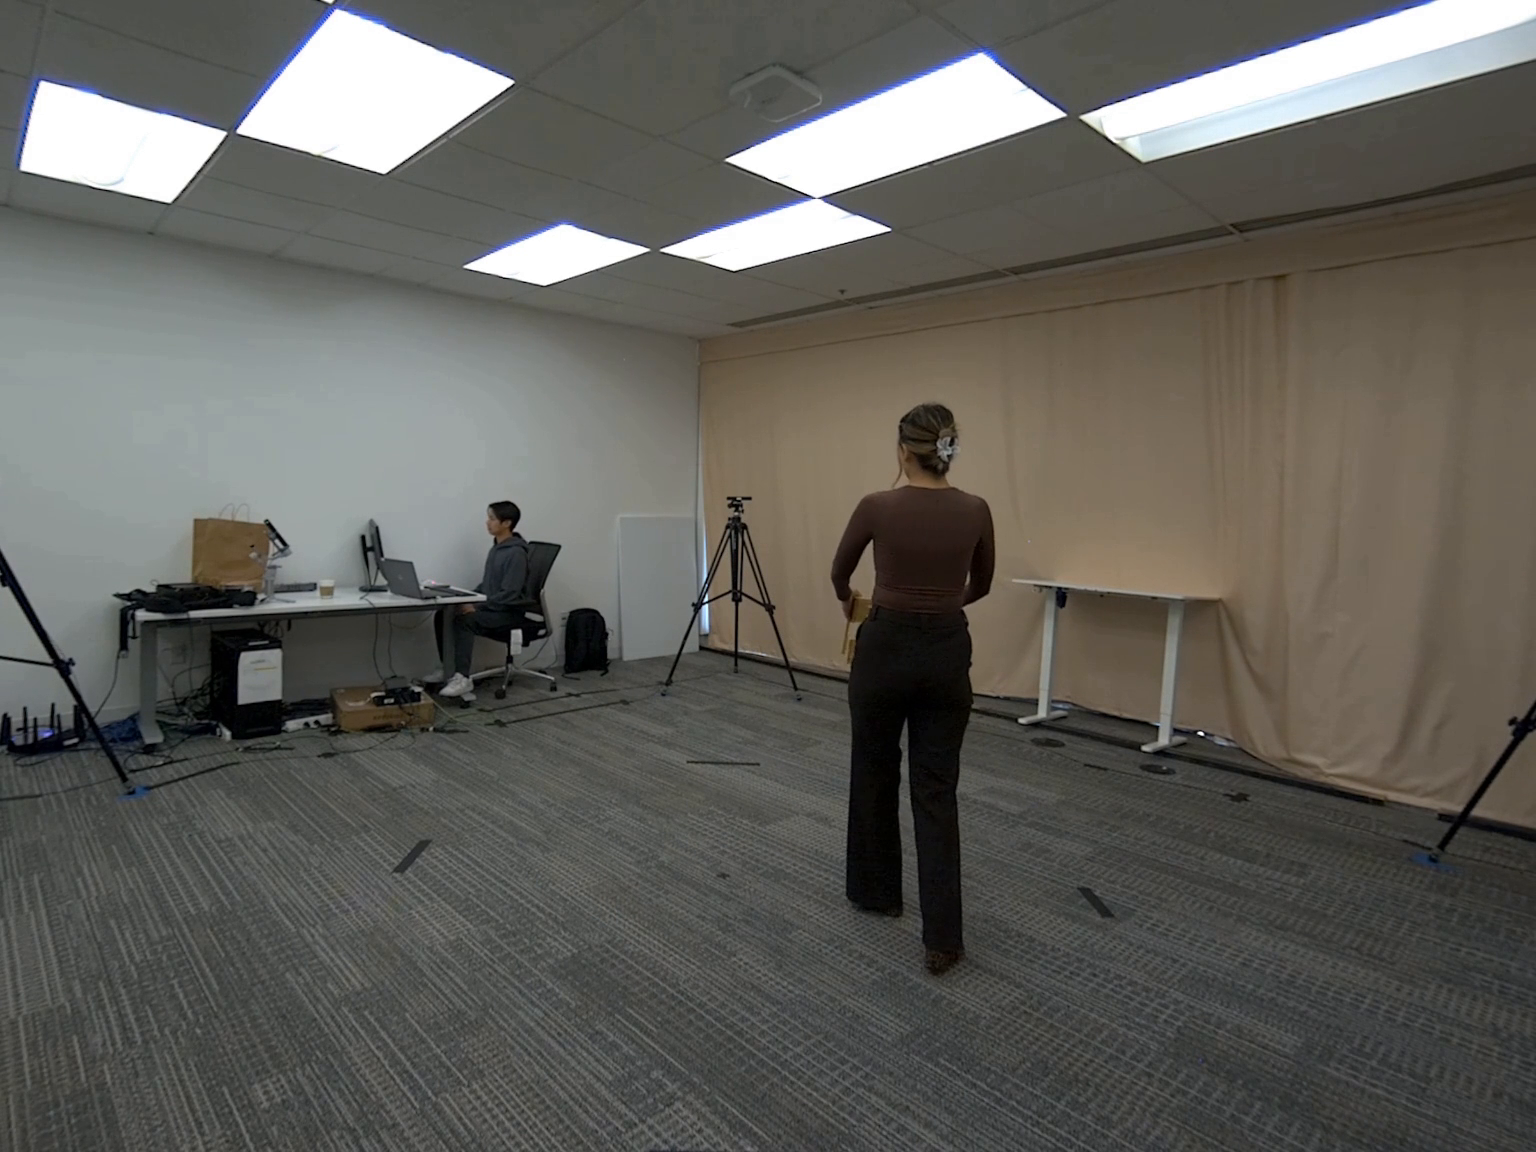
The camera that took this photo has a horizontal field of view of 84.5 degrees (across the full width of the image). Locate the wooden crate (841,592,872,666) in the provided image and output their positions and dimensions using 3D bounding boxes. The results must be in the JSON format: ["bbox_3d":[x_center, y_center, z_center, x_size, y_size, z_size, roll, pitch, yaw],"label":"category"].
[{"bbox_3d":[0.456,0.200,3.229,0.325,0.272,0.303,7,7,1],"label":"wooden crate"}]
